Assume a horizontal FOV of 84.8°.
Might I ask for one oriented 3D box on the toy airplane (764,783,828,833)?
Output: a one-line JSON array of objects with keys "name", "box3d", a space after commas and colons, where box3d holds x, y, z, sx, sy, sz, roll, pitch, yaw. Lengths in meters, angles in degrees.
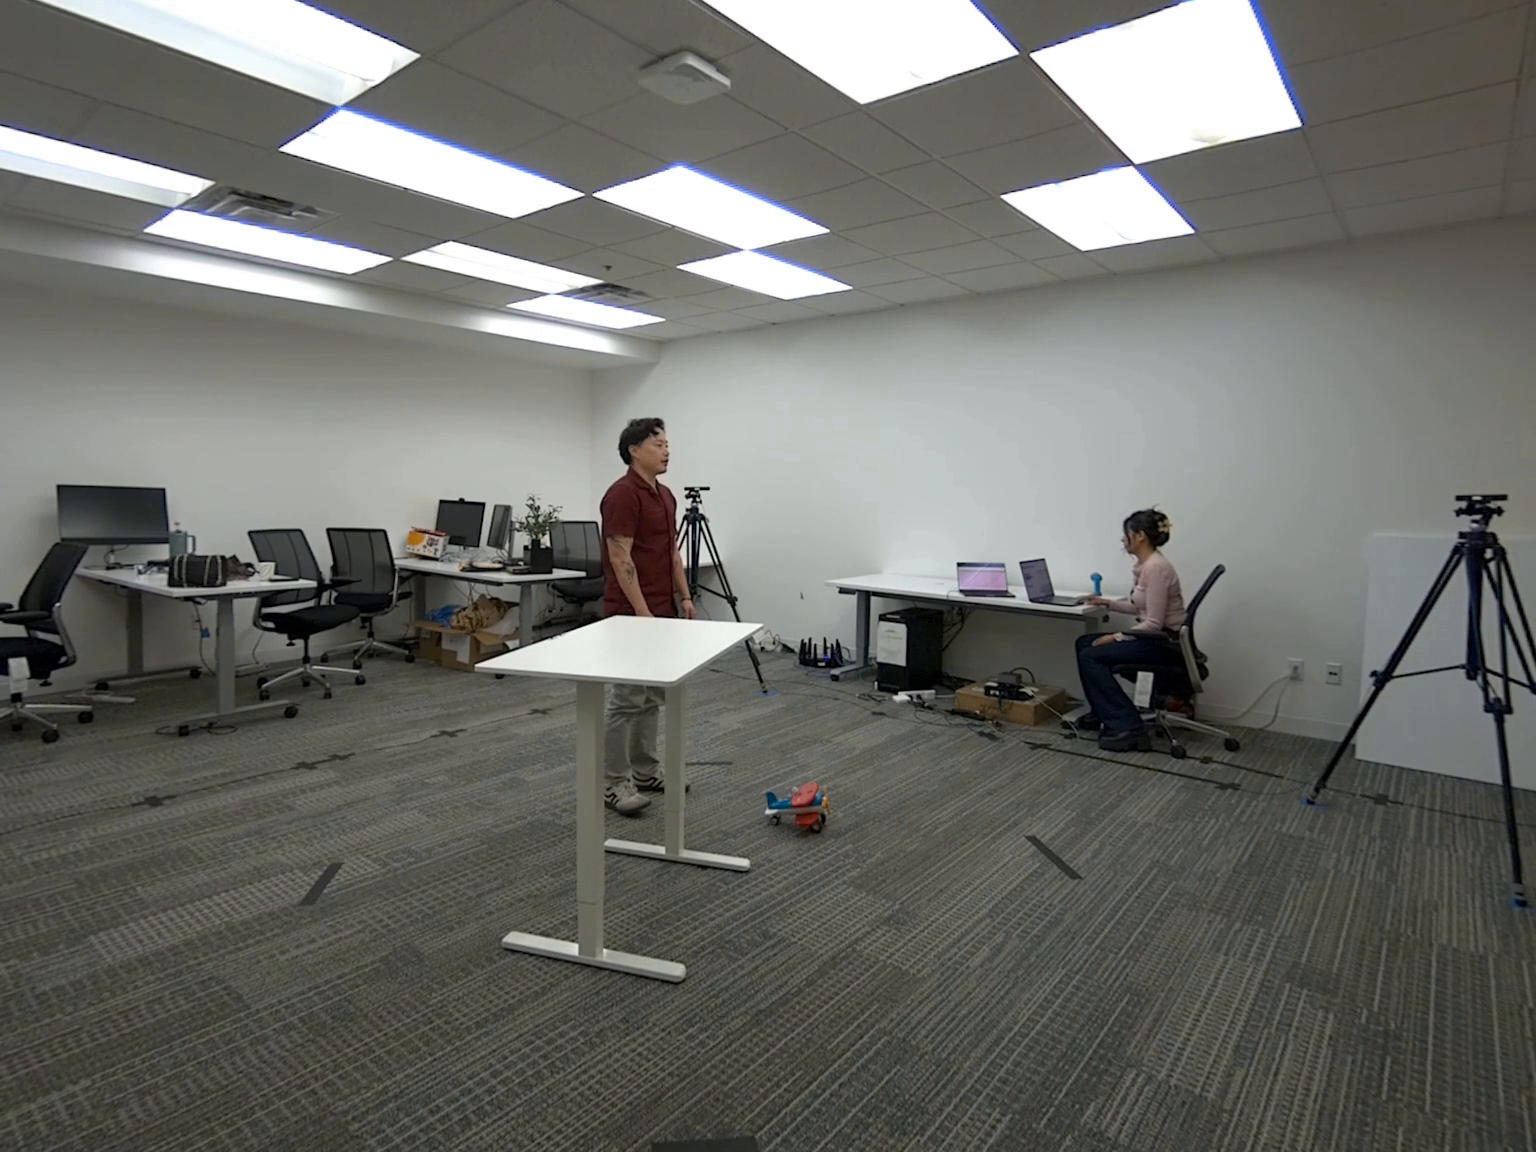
[{"name": "toy airplane", "box3d": [0.109, 0.962, 3.489, 0.255, 0.156, 0.256, 0, 6, -14]}]
